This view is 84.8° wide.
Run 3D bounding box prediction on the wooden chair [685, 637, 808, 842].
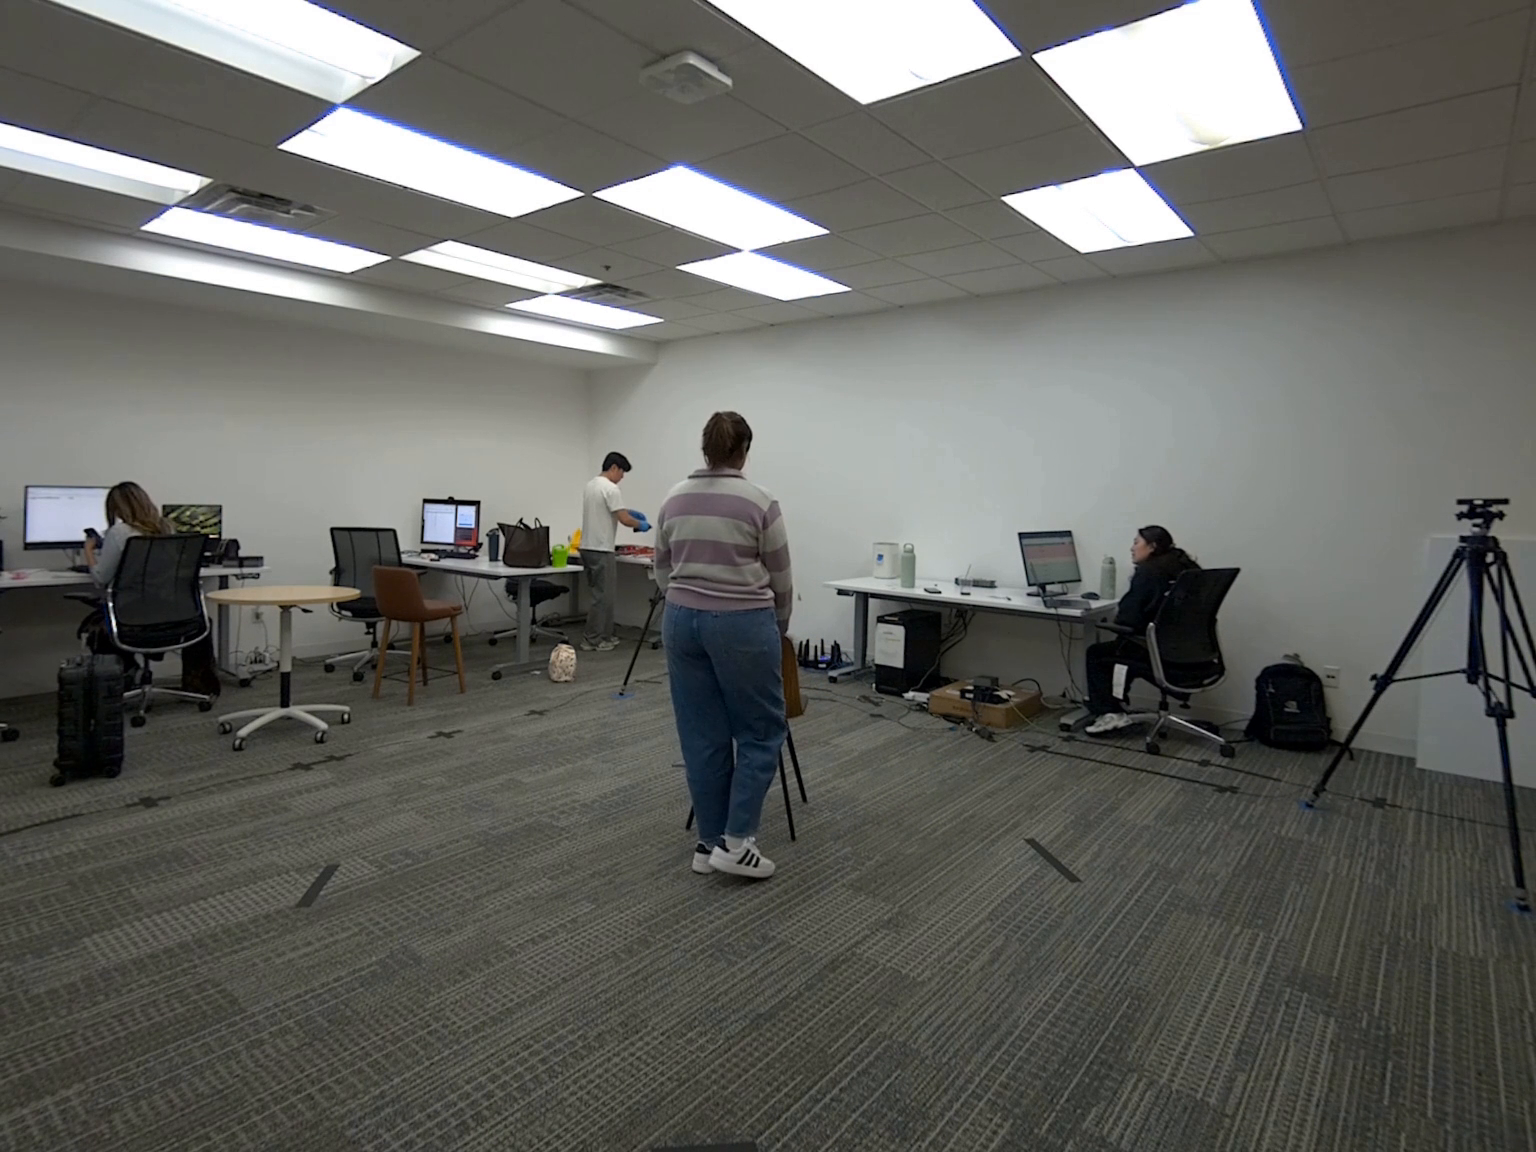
[{"bbox_3d":[-0.089,0.584,3.620,0.484,0.871,0.521,1,8,10],"label":"wooden chair"}]
